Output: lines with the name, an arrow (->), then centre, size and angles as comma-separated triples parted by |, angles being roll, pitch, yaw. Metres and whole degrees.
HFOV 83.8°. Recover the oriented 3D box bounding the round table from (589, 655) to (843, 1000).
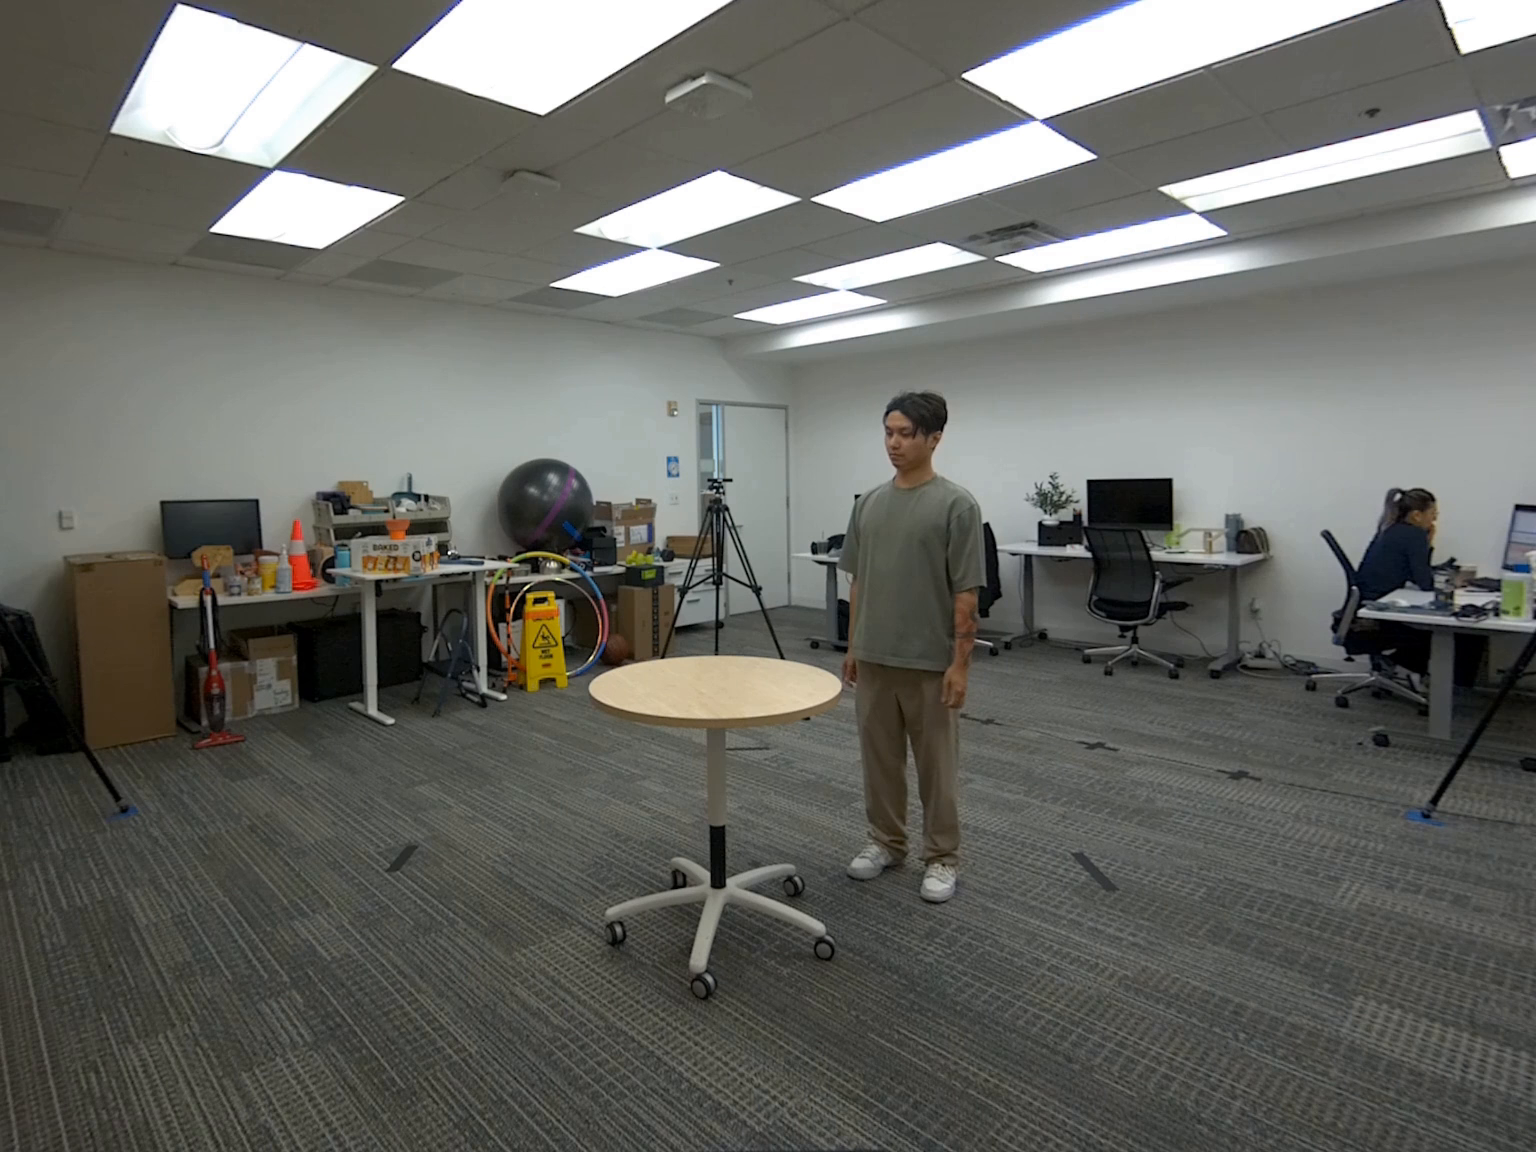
round table -> -0.161, 0.713, 2.629 | 0.784, 0.783, 0.789 | -1, 5, -2
